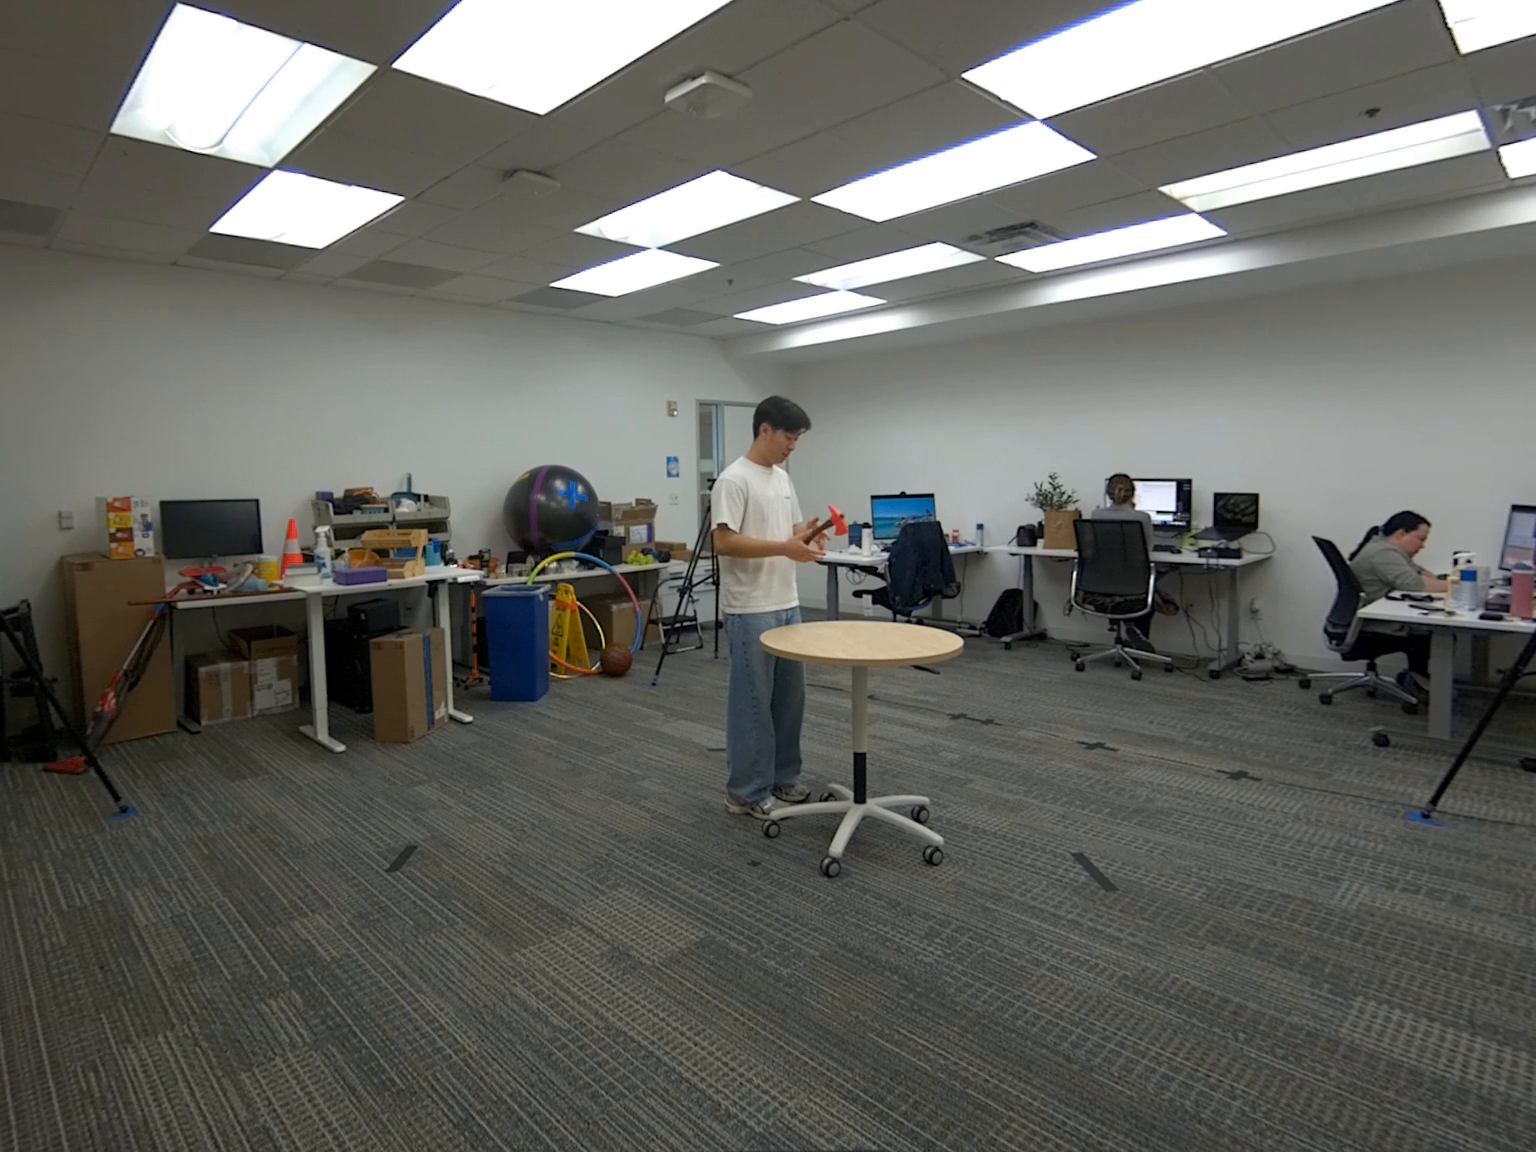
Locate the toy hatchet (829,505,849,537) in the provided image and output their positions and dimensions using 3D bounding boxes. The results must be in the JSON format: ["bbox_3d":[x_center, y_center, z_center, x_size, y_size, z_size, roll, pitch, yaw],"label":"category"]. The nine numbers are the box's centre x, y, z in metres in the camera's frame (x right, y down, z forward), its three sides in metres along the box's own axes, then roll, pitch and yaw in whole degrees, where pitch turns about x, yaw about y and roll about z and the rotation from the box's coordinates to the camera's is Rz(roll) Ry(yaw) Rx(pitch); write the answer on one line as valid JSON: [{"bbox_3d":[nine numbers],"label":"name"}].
[{"bbox_3d":[0.220,-0.113,3.487,0.133,0.268,0.029,42,30,13],"label":"toy hatchet"}]
